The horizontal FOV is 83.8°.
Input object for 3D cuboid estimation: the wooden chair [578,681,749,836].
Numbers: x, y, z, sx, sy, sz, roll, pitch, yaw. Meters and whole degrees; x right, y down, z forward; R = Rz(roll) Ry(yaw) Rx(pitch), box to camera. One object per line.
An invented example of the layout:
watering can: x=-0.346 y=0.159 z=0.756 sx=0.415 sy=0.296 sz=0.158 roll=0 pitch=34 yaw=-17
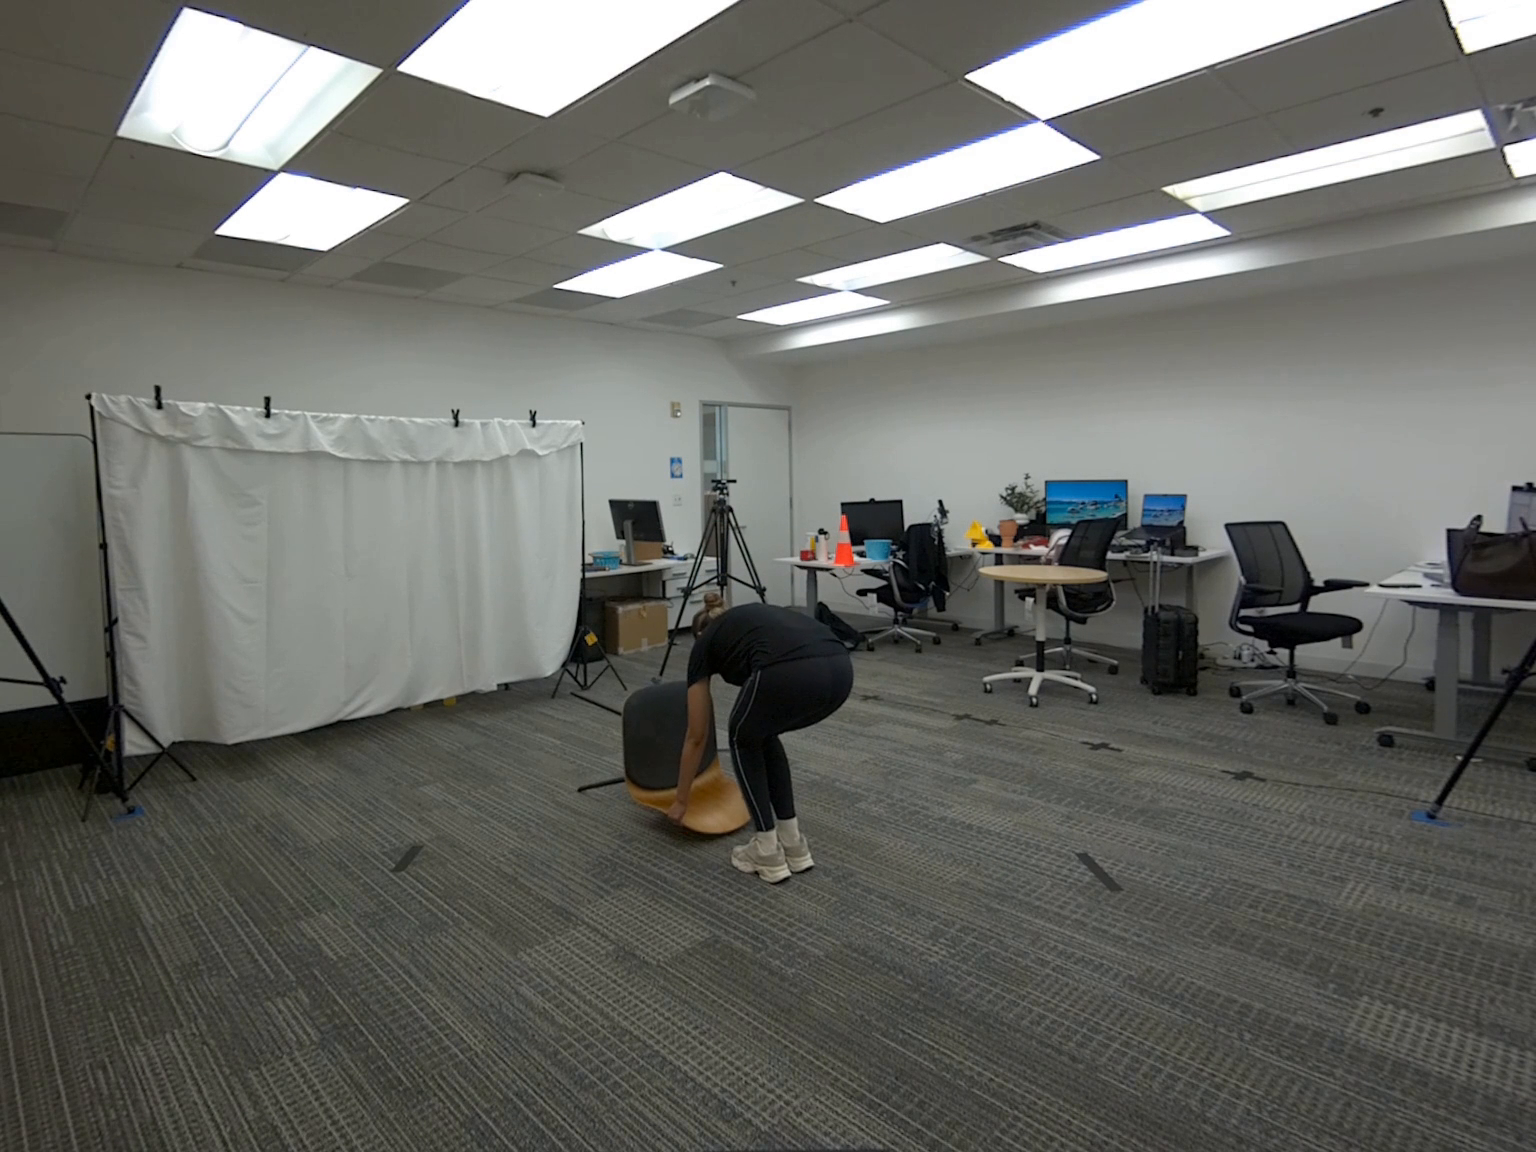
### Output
wooden chair: x=-0.433 y=0.718 z=3.665 sx=0.466 sy=0.521 sz=0.903 roll=-5 pitch=5 yaw=-38
